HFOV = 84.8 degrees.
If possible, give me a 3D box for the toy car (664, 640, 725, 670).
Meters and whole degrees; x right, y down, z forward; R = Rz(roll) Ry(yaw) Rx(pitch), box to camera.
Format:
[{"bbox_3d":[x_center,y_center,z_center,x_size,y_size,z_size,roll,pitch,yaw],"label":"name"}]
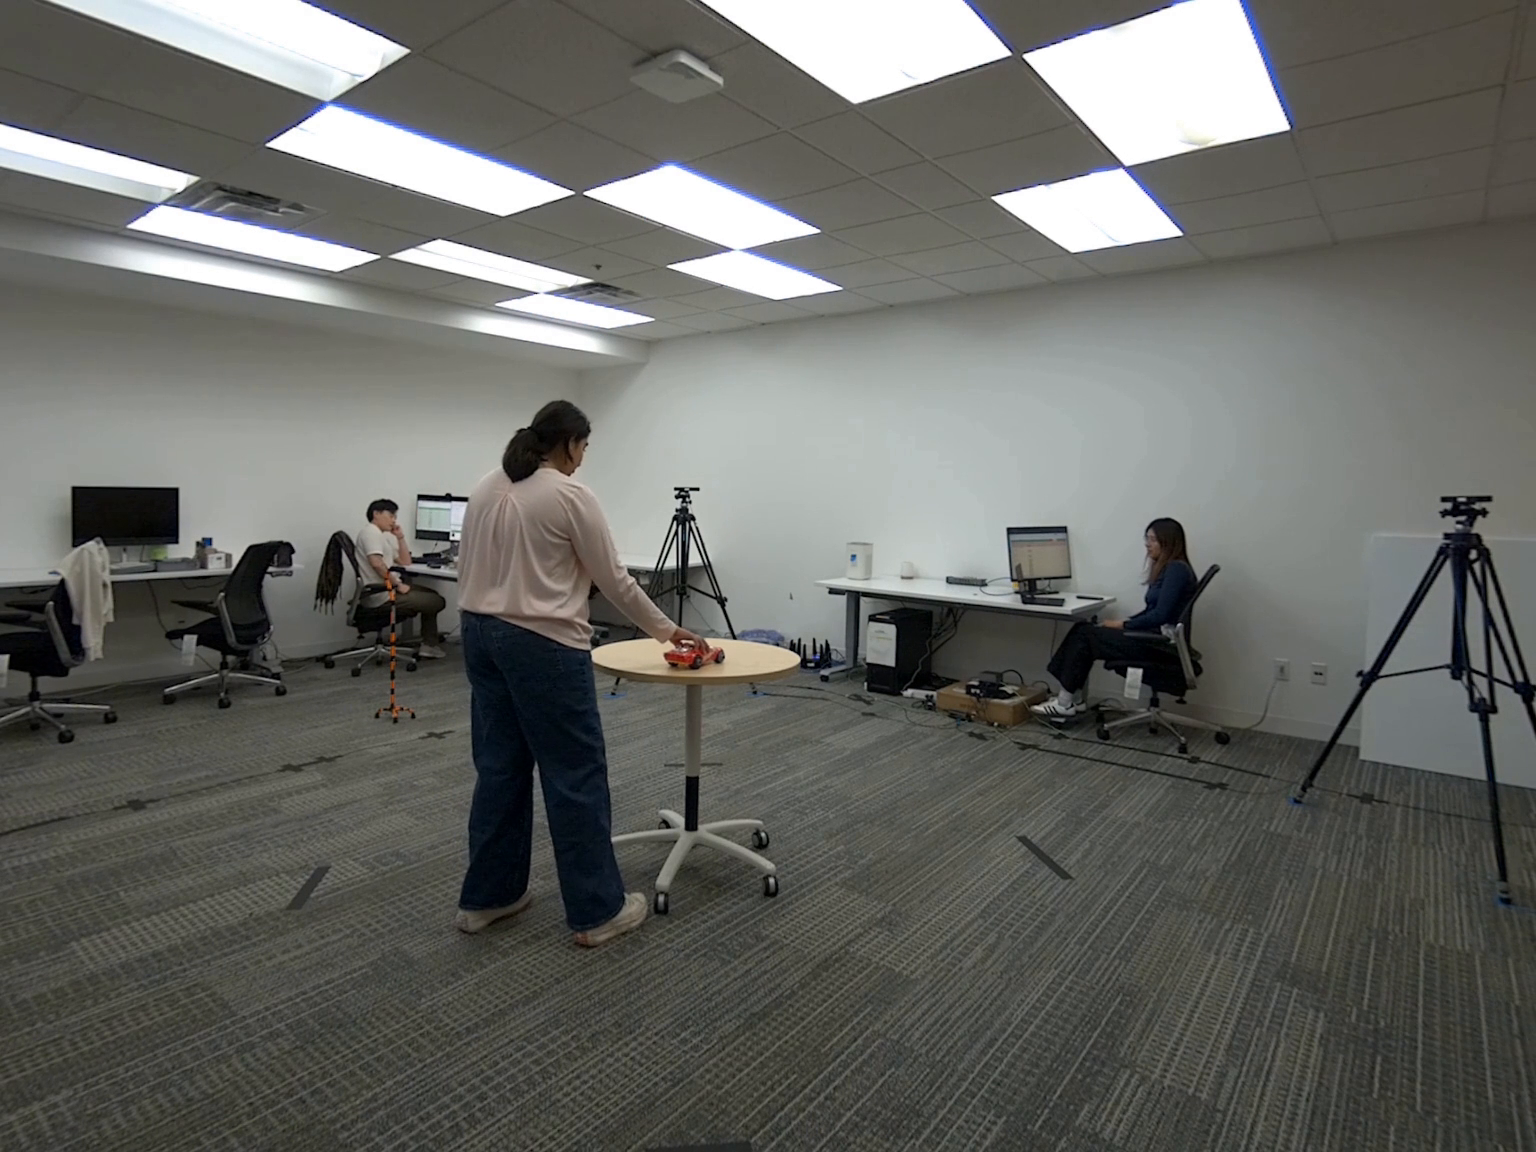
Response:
[{"bbox_3d":[-0.264,0.270,2.898,0.134,0.083,0.246,5,-5,30],"label":"toy car"}]
